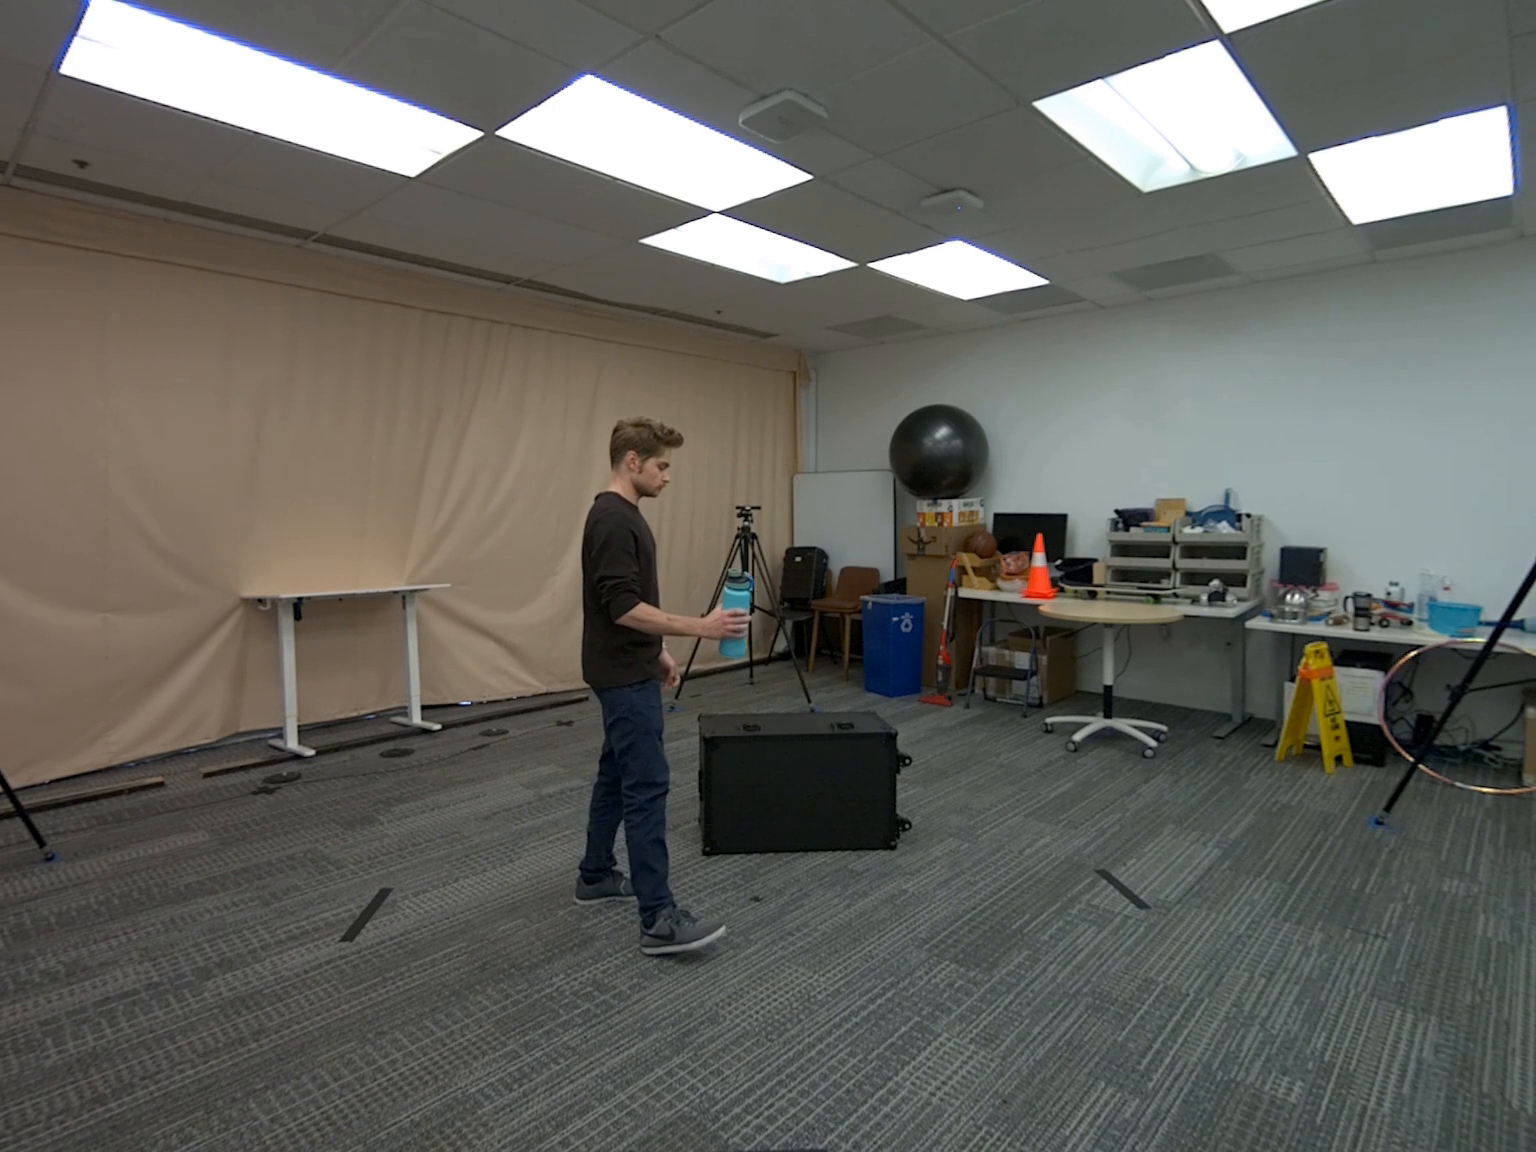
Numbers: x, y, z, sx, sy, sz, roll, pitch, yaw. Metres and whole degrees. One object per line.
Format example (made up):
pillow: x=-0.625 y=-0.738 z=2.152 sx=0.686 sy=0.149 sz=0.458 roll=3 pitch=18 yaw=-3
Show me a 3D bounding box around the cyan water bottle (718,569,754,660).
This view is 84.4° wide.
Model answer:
cyan water bottle: x=-0.098 y=0.117 z=2.683 sx=0.092 sy=0.282 sz=0.093 roll=7 pitch=11 yaw=-3
